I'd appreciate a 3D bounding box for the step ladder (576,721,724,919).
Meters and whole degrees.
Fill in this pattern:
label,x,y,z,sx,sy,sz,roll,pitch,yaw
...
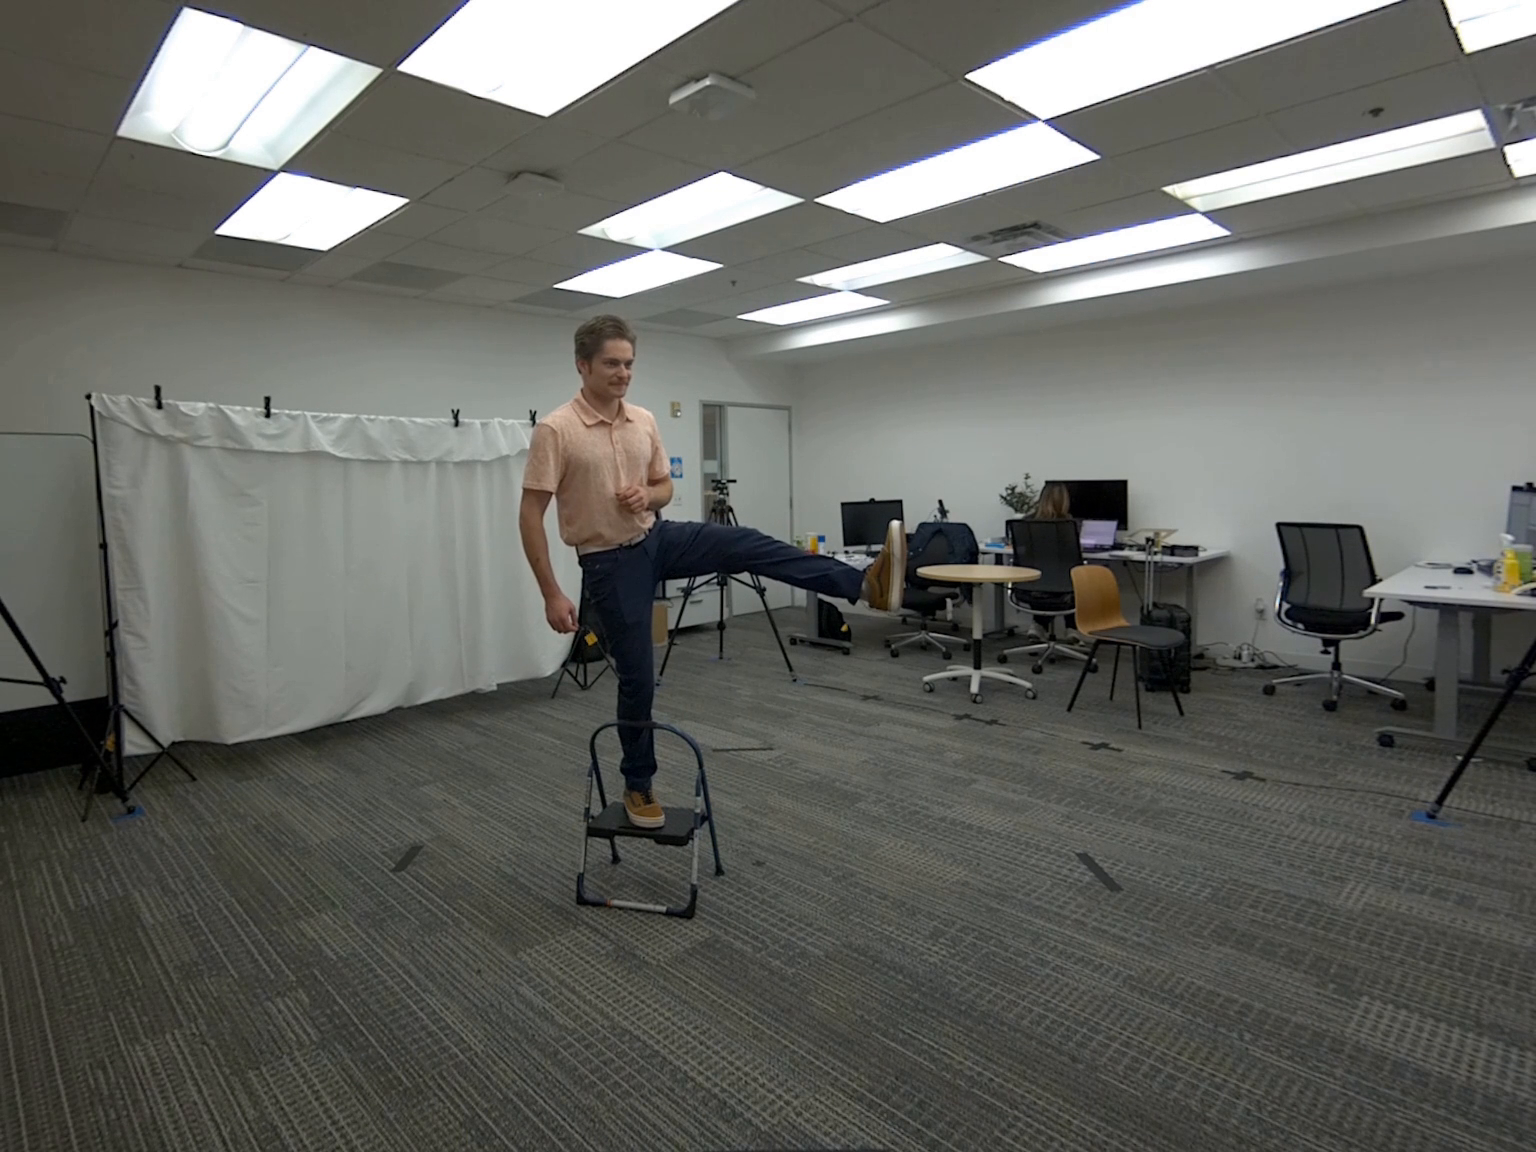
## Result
label,x,y,z,sx,sy,sz,roll,pitch,yaw
step ladder,-0.406,0.777,2.922,0.437,0.604,0.346,0,5,14
